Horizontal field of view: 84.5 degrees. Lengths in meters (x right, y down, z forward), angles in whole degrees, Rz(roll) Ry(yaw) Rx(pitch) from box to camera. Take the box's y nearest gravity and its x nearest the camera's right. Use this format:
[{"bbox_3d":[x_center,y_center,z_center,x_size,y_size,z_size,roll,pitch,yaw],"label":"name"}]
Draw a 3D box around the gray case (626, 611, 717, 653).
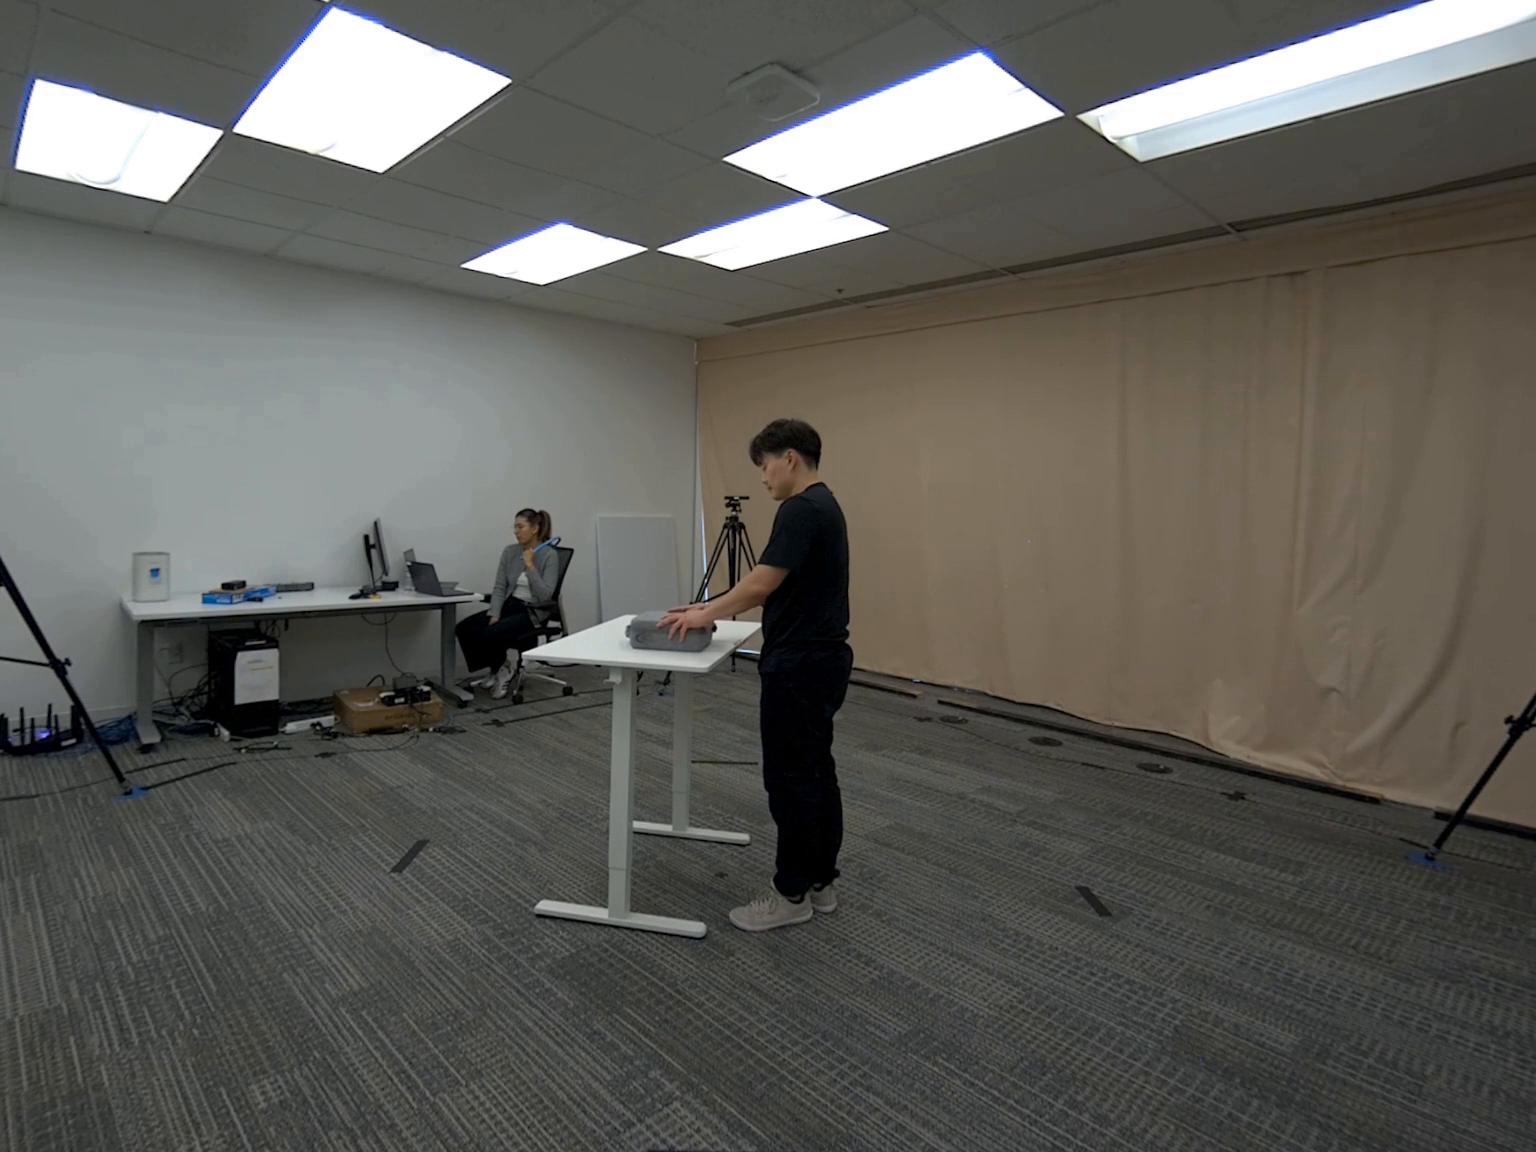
[{"bbox_3d":[-0.338,0.188,2.884,0.263,0.104,0.256,3,7,8],"label":"gray case"}]
